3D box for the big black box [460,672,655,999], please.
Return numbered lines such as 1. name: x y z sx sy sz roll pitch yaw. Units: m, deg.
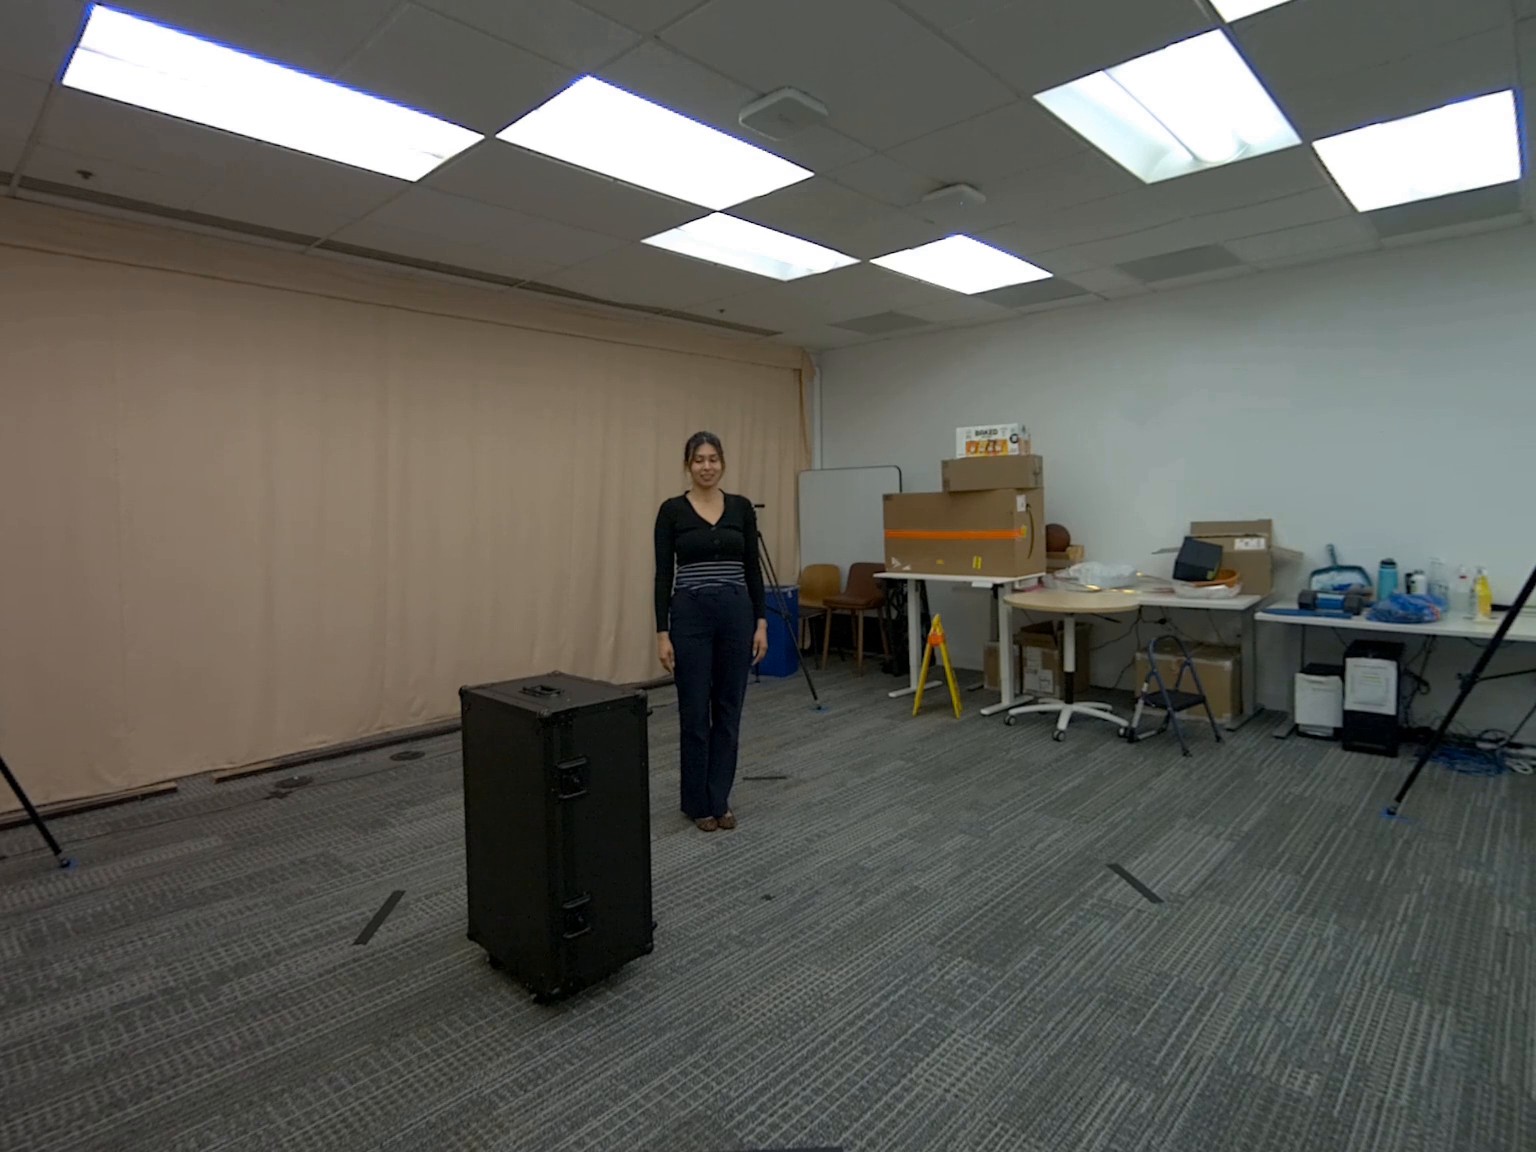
1. big black box: -0.637 0.766 2.548 0.384 0.860 0.538 -3 4 -45
